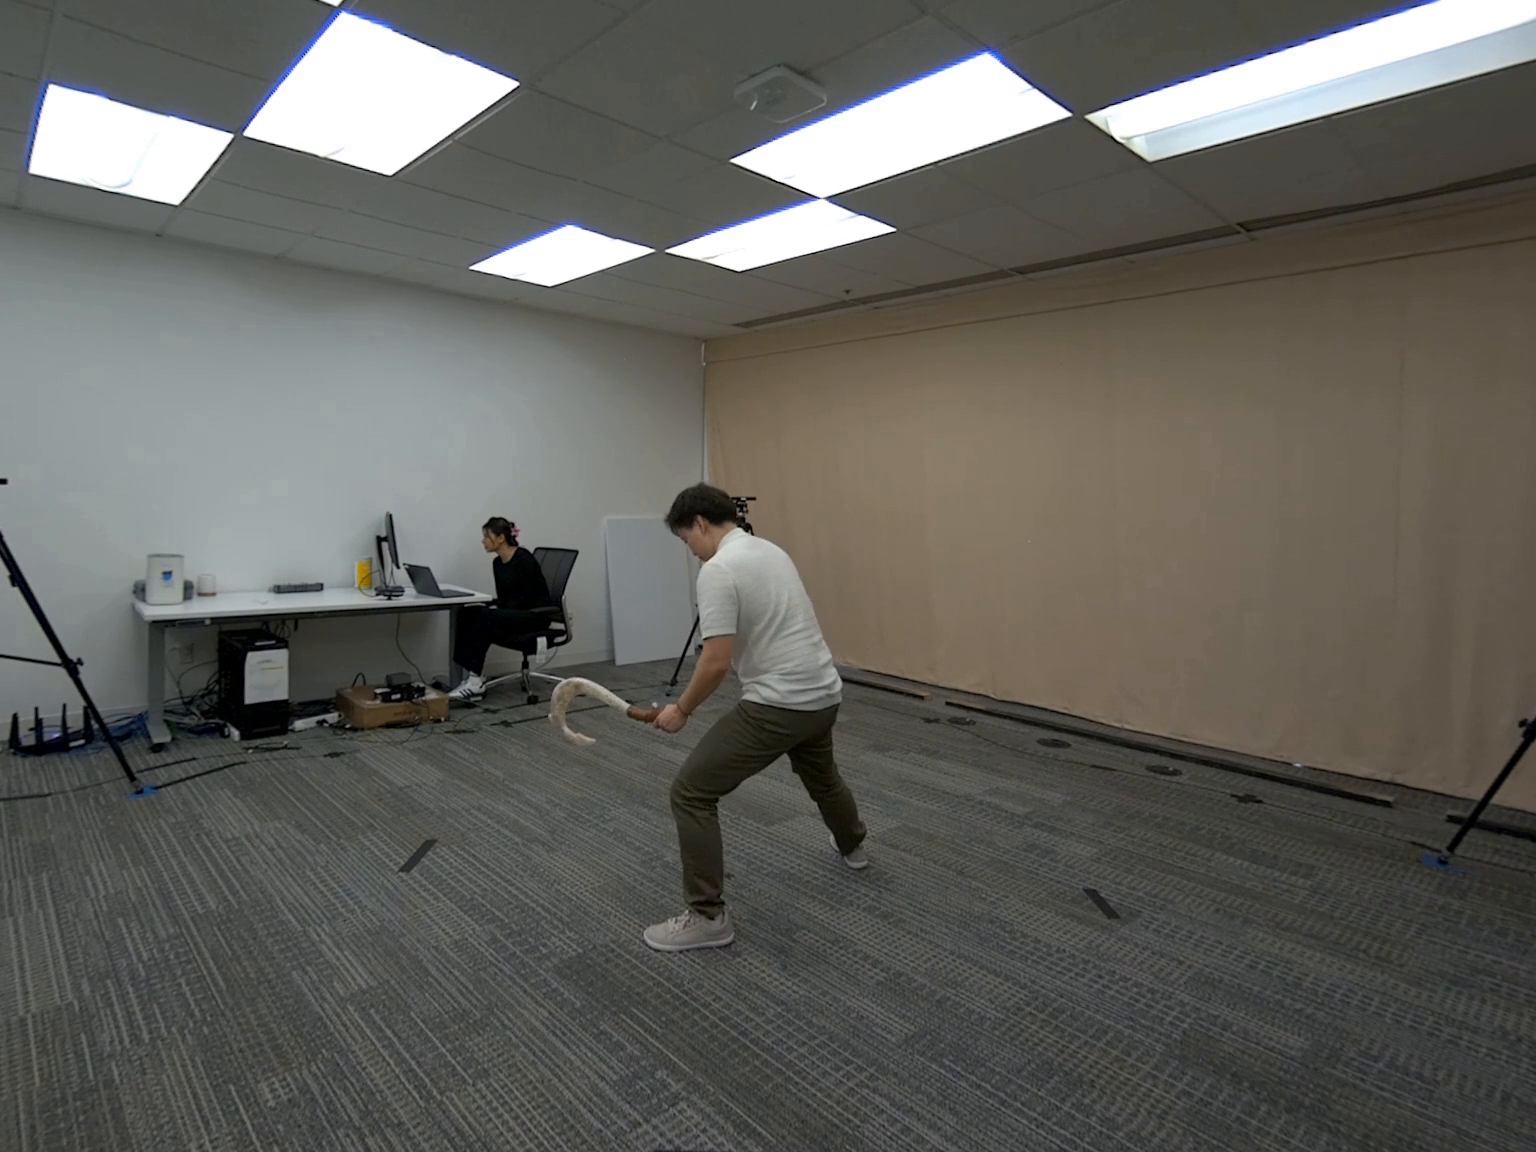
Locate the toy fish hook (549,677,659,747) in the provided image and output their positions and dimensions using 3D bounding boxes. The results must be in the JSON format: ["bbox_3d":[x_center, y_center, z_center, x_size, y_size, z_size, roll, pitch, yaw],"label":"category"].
[{"bbox_3d":[-0.518,0.489,2.841,0.517,0.224,0.047,10,5,23],"label":"toy fish hook"}]
